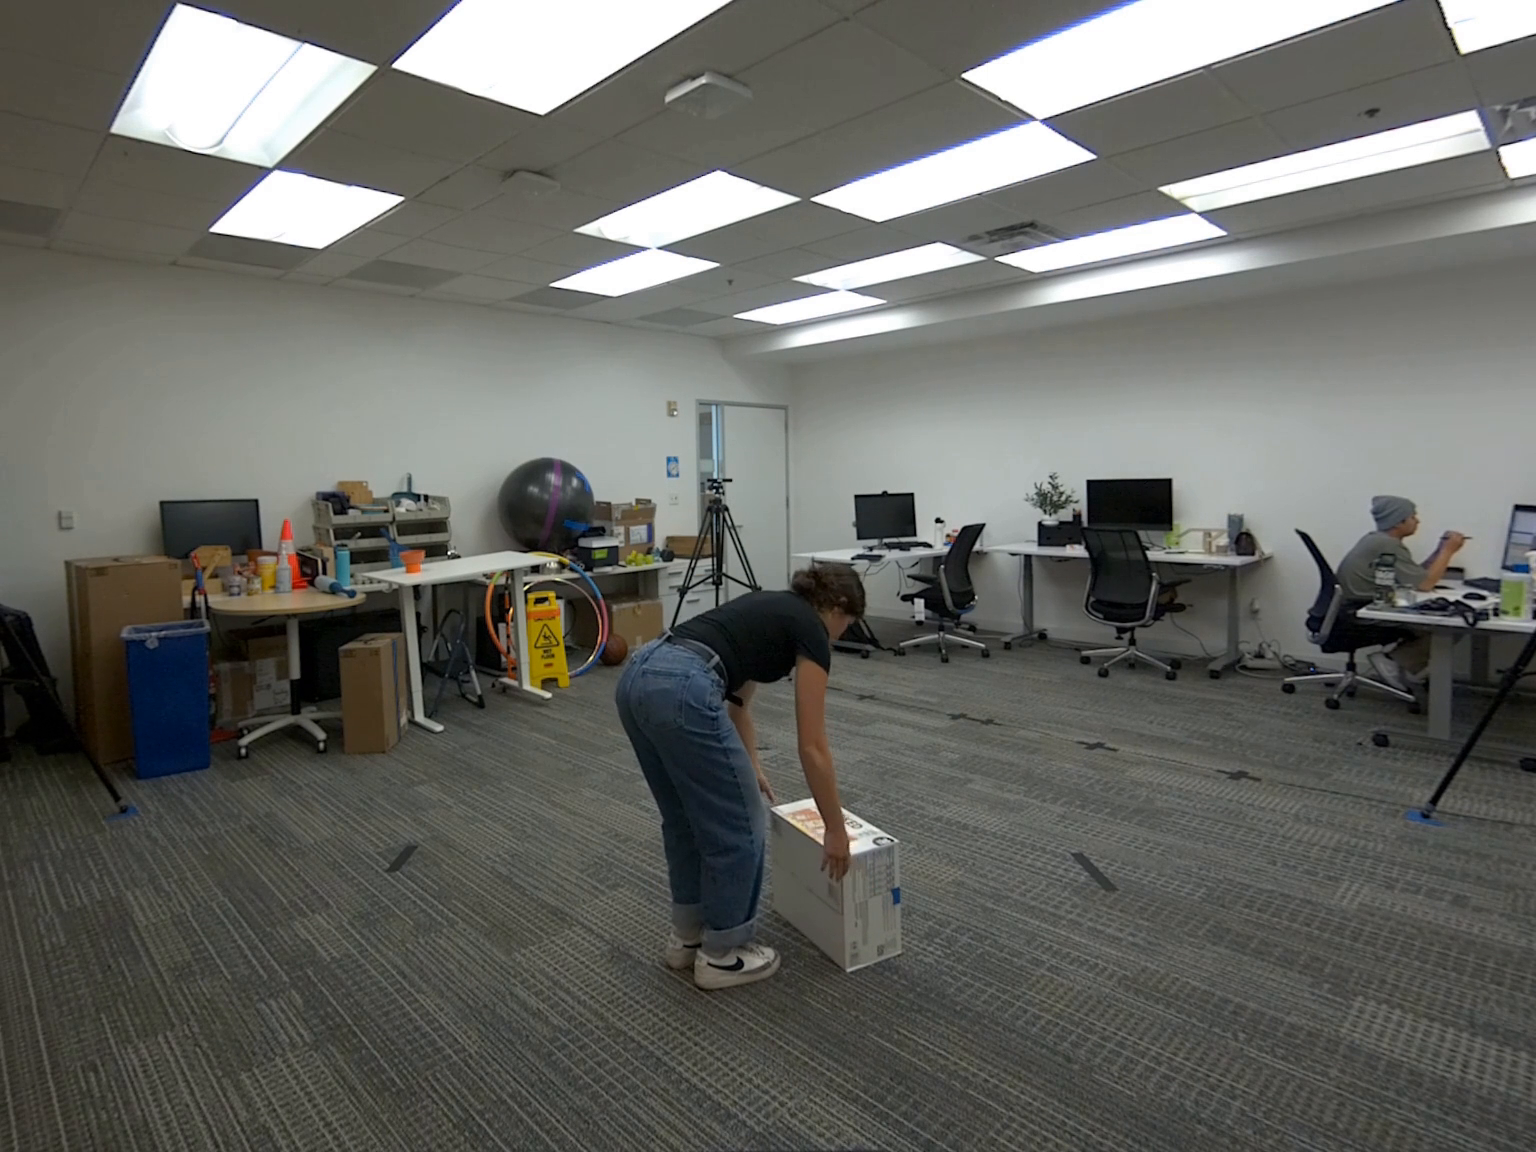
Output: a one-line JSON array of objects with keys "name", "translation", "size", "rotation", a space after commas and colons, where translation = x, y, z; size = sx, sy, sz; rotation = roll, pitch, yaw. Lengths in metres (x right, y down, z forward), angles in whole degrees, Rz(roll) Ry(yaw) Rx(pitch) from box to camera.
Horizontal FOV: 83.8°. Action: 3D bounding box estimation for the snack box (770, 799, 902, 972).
[{"name": "snack box", "translation": [0.204, 0.927, 2.624], "size": [0.201, 0.339, 0.416], "rotation": [-5, 7, -29]}]
